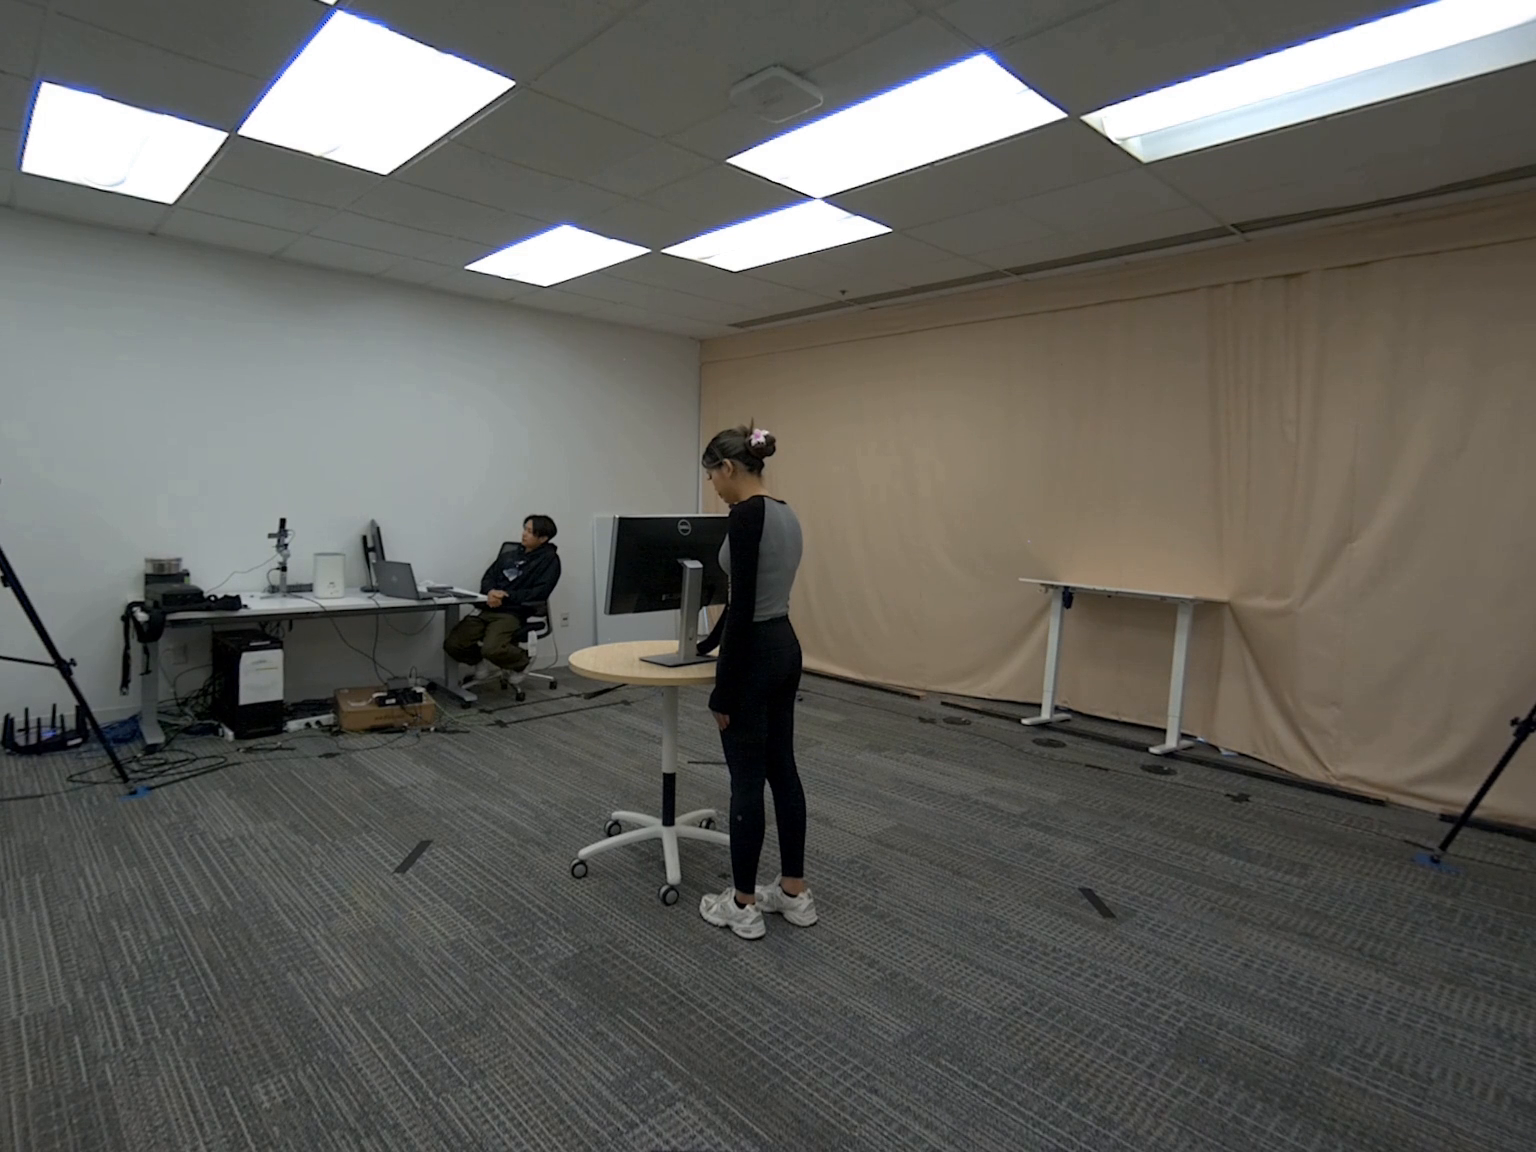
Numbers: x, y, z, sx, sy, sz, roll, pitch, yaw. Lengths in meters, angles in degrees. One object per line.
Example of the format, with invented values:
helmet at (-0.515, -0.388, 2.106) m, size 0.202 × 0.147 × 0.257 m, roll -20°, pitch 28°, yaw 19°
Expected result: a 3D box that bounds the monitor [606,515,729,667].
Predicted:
monitor at (-0.329, 0.046, 3.111) m, size 0.527 × 0.521 × 0.192 m, roll -3°, pitch 4°, yaw -43°
